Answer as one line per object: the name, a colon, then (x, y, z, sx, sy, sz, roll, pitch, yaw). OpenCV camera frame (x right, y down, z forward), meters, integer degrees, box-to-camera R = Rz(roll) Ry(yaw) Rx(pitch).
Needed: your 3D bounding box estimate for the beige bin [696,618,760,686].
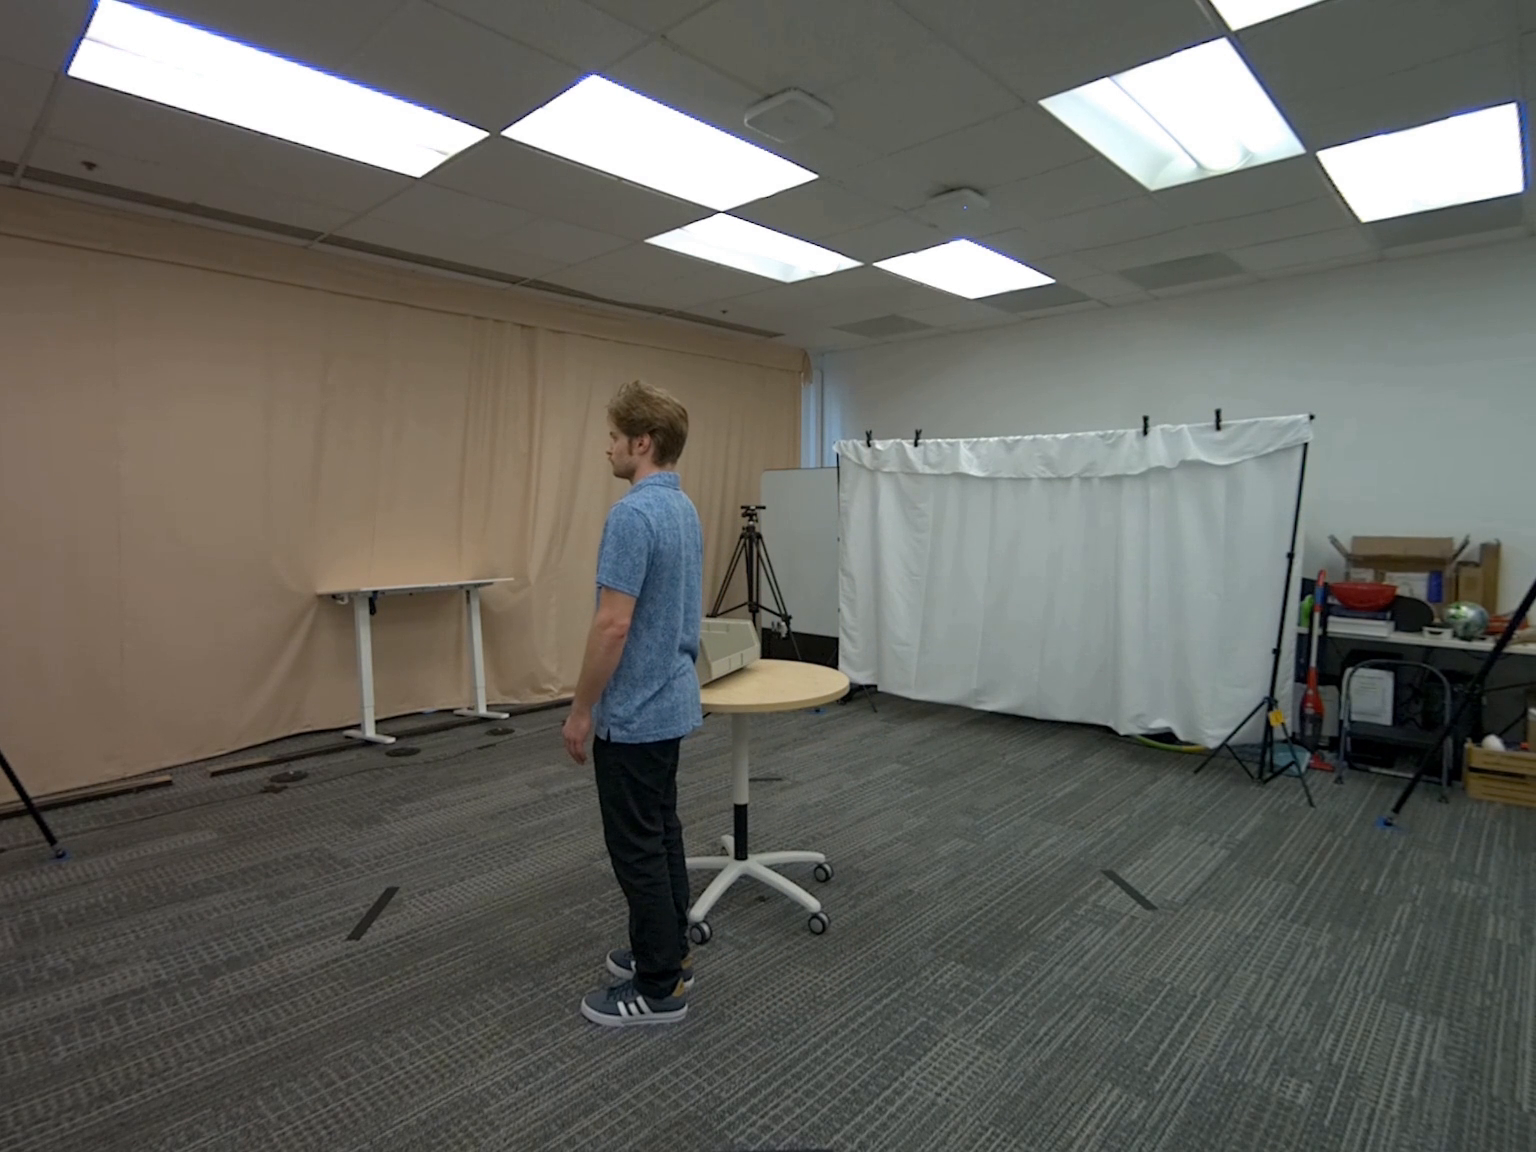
beige bin: (-0.276, 0.268, 3.032, 0.387, 0.188, 0.413, 0, 5, 24)
